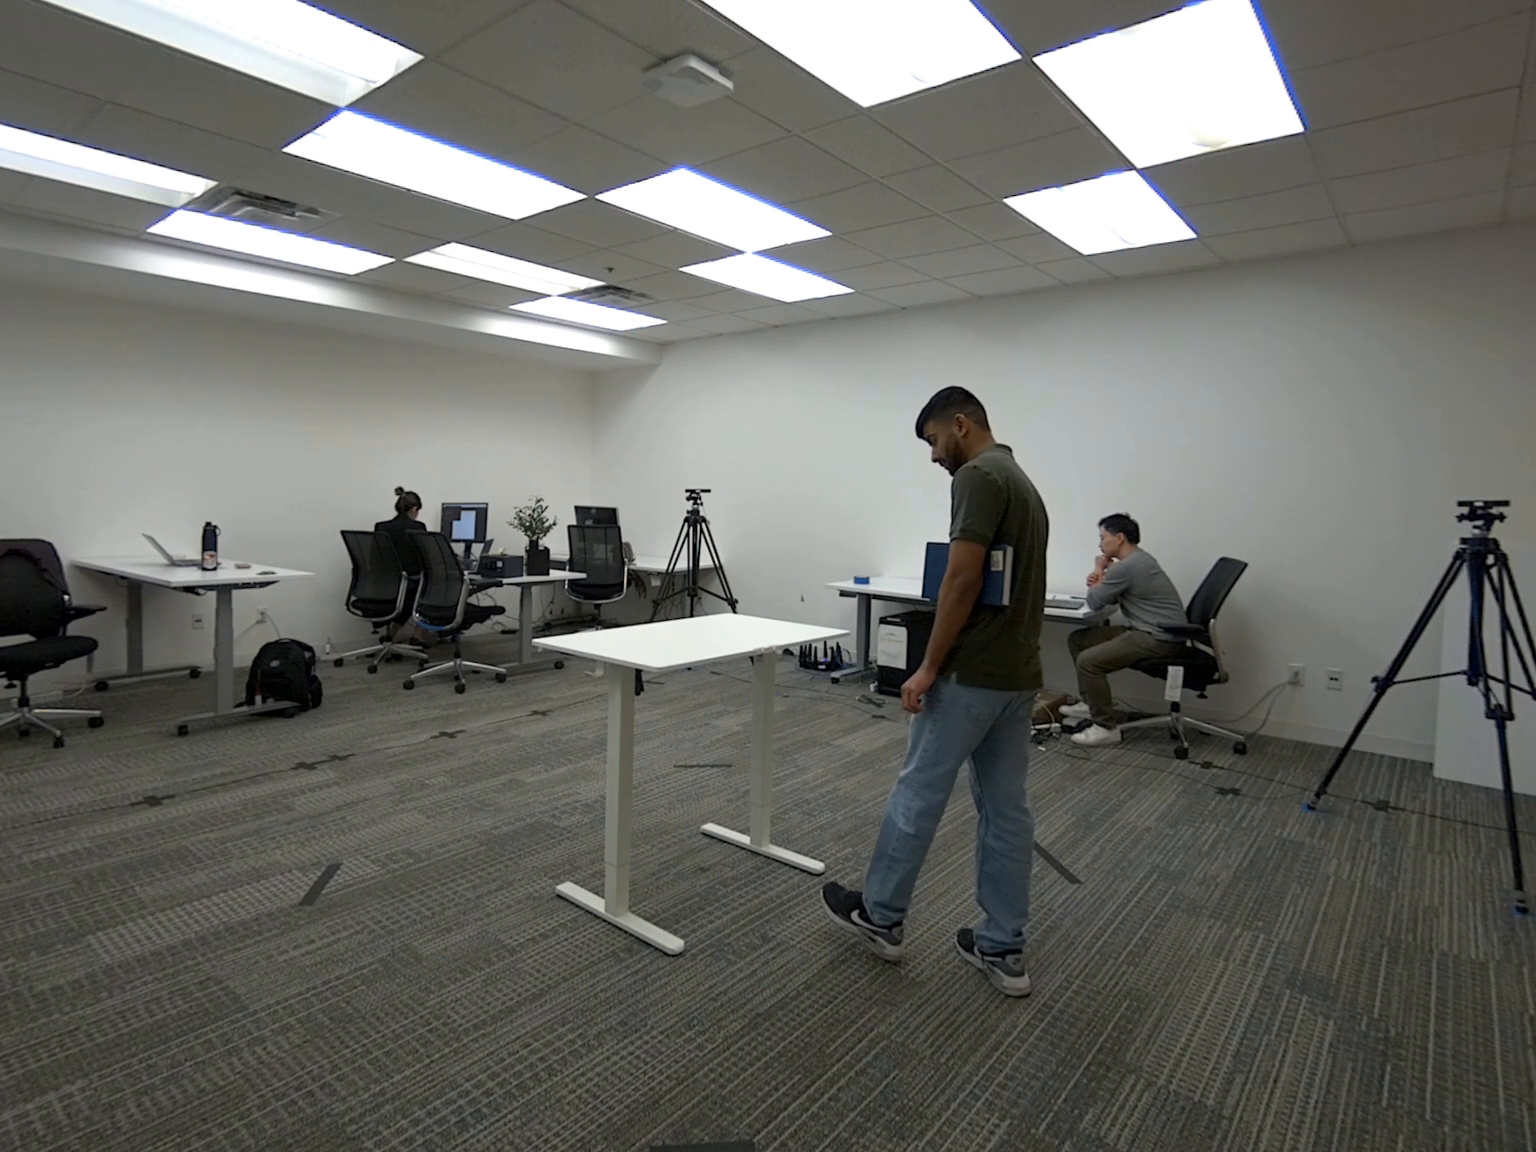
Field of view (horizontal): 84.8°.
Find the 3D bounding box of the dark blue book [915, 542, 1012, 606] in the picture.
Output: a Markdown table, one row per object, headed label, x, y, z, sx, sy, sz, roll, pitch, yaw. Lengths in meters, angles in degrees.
| label | x | y | z | sx | sy | sz | roll | pitch | yaw |
| --- | --- | --- | --- | --- | --- | --- | --- | --- | --- |
| dark blue book | 0.538 | -0.002 | 2.335 | 0.254 | 0.163 | 0.043 | 8 | -2 | 44 |
